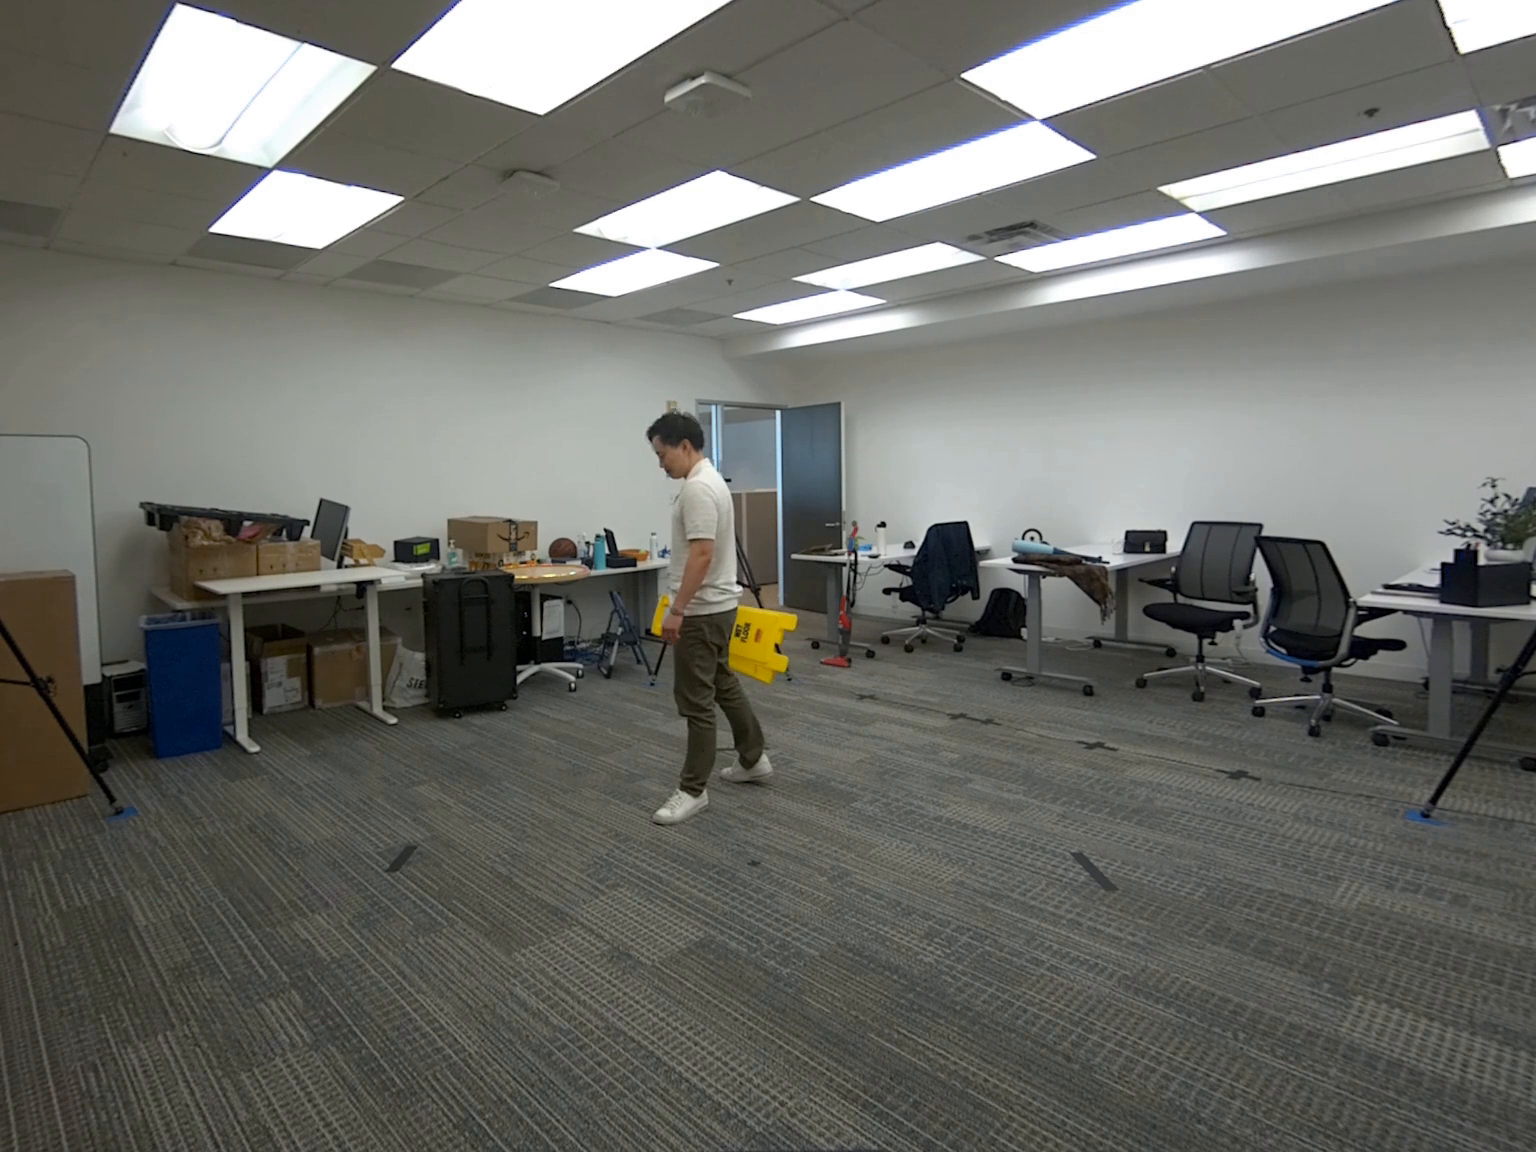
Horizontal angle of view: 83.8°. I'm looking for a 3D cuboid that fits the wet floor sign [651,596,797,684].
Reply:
[{"bbox_3d":[-0.229,0.269,4.091,0.643,0.285,0.288,16,-18,-4],"label":"wet floor sign"}]
